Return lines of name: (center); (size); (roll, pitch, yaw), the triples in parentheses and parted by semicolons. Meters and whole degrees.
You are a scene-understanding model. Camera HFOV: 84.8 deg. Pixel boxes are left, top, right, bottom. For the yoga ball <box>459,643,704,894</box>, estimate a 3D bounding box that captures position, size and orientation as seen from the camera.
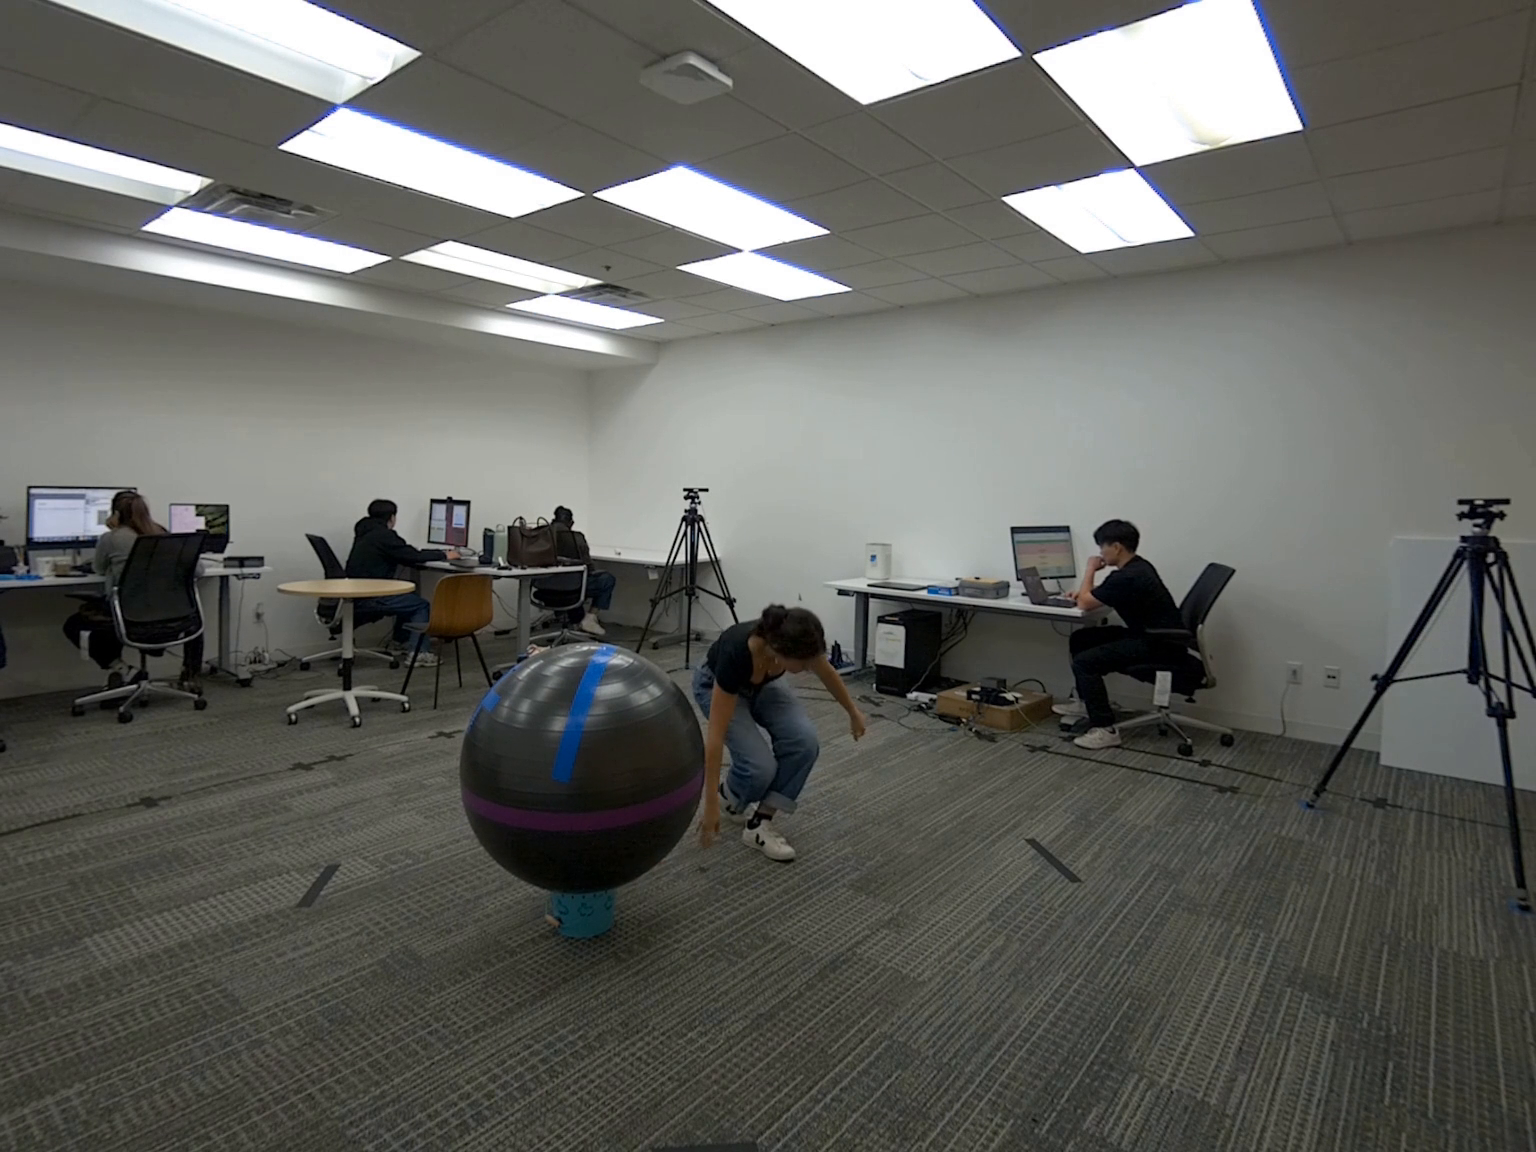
yoga ball: (-0.590, 0.592, 2.676); (0.757, 0.756, 0.761); (1, 4, -2)
